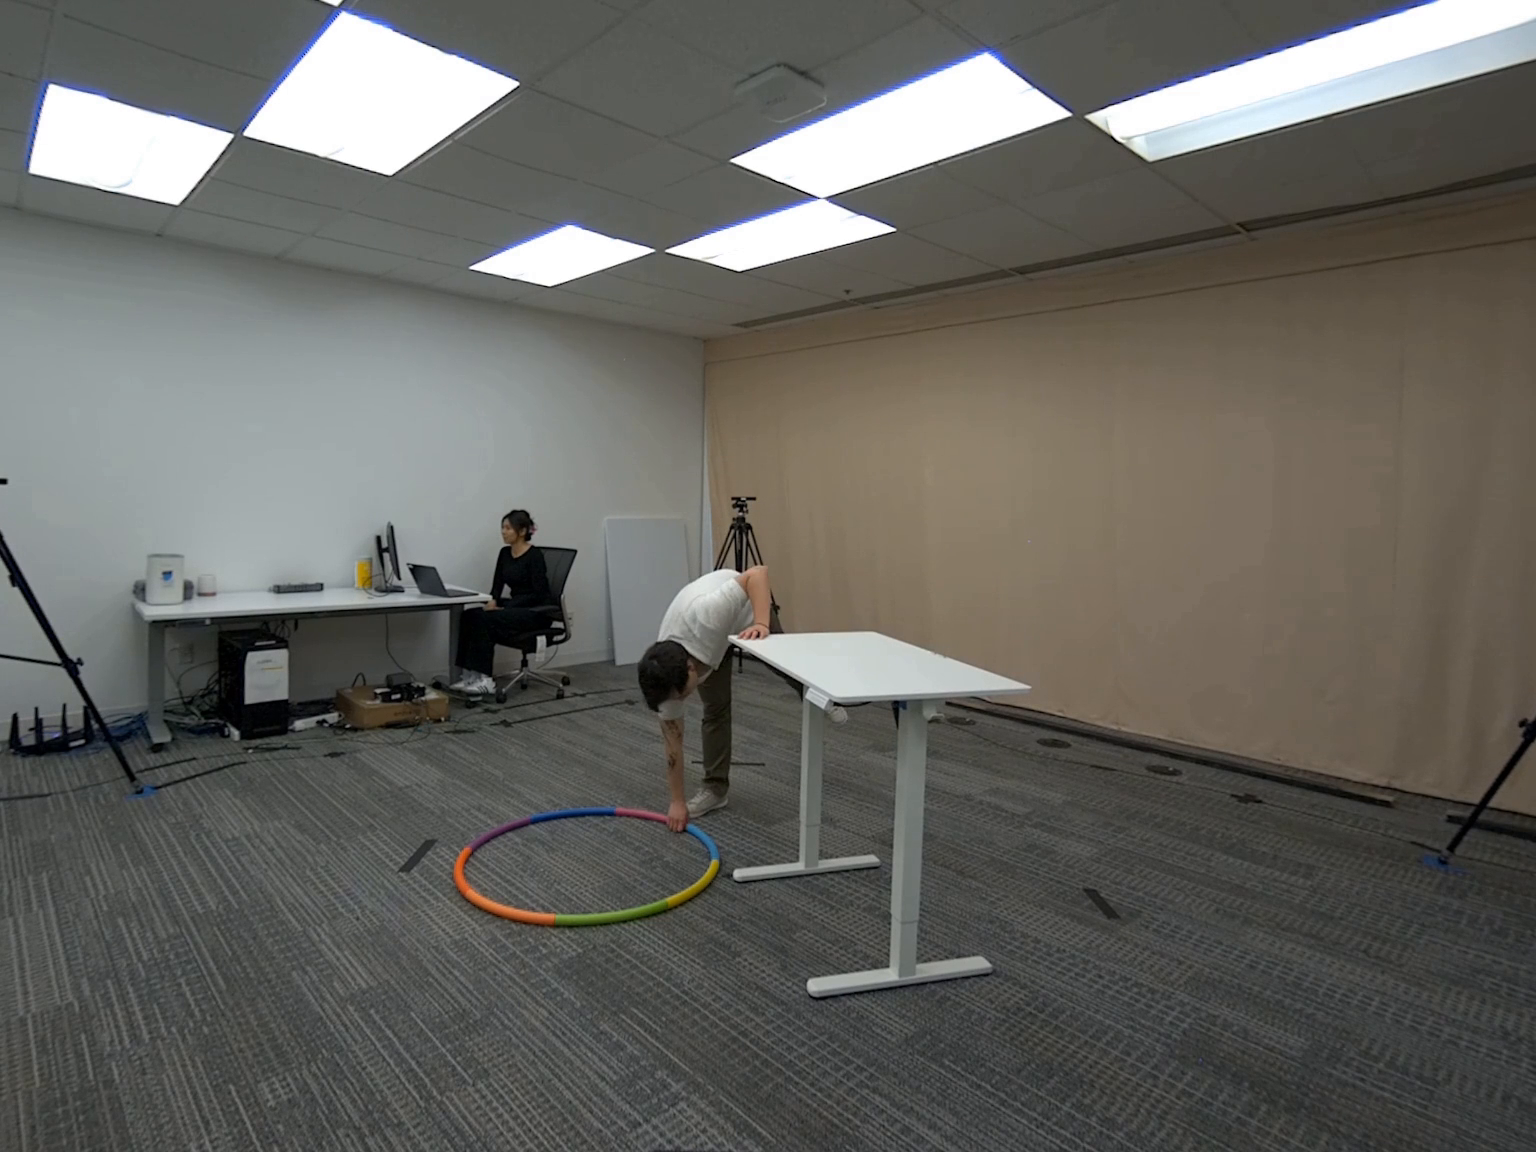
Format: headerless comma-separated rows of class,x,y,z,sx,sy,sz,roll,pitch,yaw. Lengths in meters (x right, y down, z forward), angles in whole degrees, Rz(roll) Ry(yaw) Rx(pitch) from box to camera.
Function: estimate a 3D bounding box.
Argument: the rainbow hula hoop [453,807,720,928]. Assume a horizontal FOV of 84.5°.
rainbow hula hoop,-0.673,1.053,3.190,0.978,0.035,0.982,2,5,-1
